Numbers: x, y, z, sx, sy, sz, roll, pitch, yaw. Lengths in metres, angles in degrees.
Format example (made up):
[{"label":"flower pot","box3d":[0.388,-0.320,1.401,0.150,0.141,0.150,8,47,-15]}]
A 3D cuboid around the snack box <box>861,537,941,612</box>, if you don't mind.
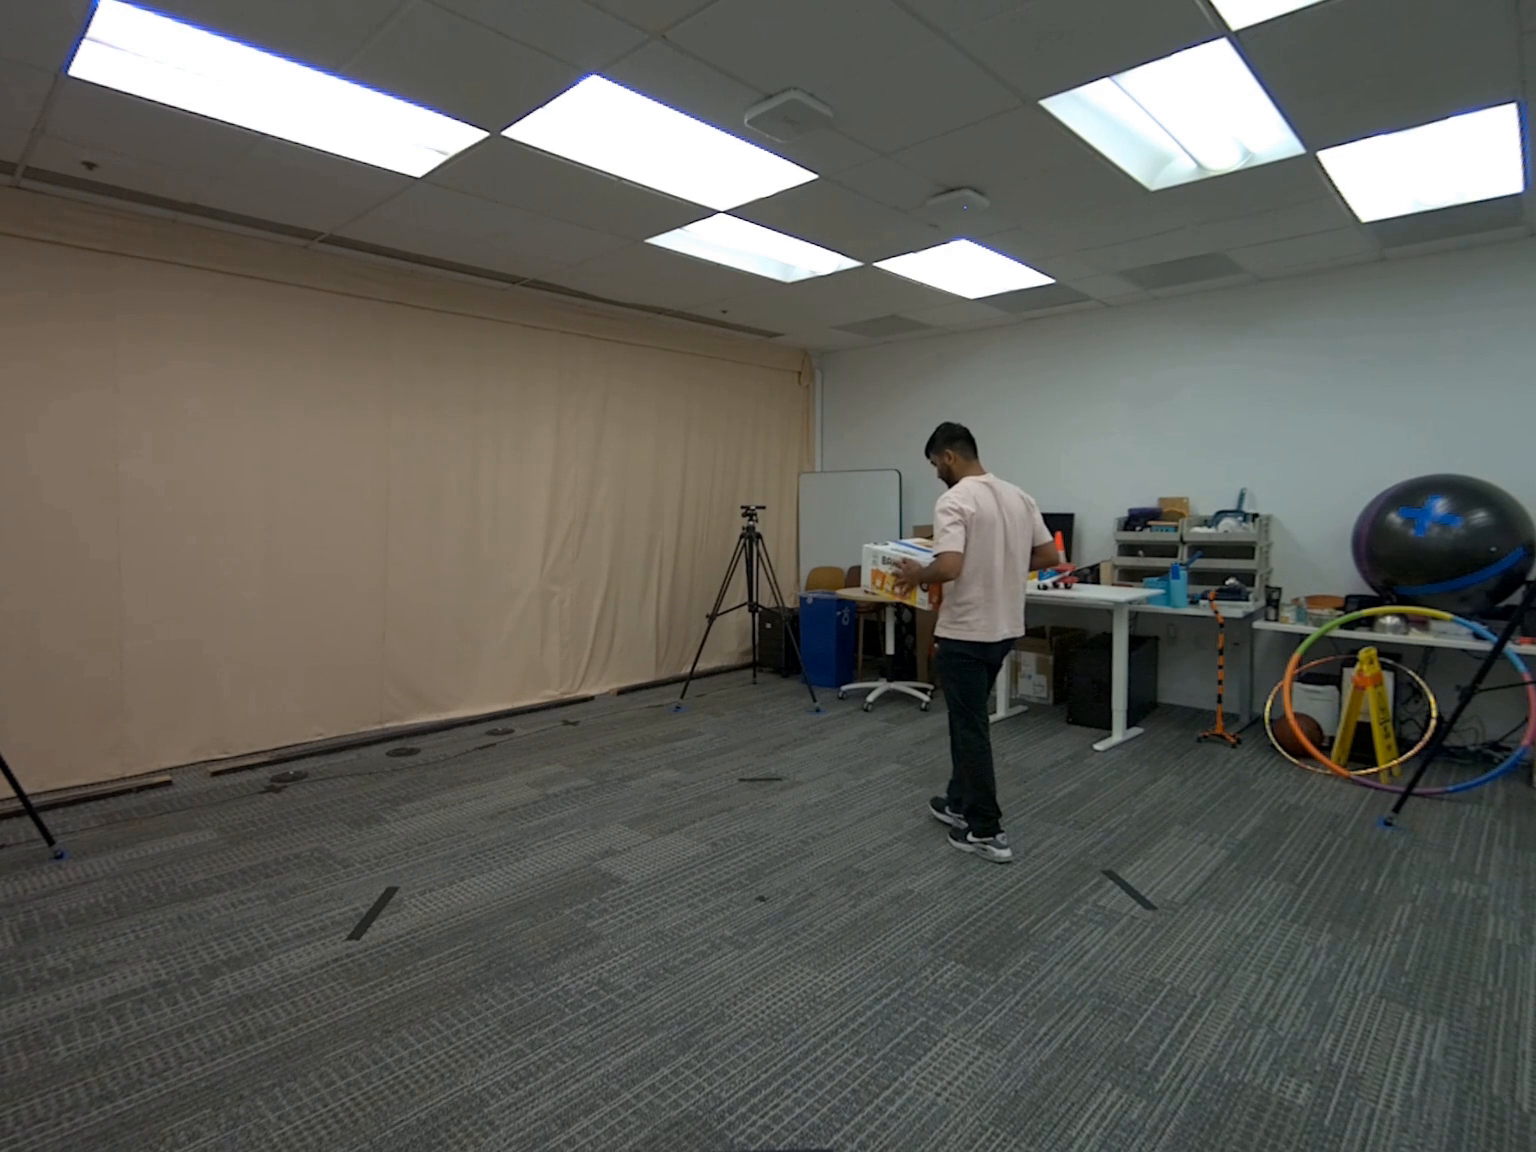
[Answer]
[{"label":"snack box","box3d":[0.669,-0.018,3.631,0.331,0.204,0.419,-7,15,-33]}]
